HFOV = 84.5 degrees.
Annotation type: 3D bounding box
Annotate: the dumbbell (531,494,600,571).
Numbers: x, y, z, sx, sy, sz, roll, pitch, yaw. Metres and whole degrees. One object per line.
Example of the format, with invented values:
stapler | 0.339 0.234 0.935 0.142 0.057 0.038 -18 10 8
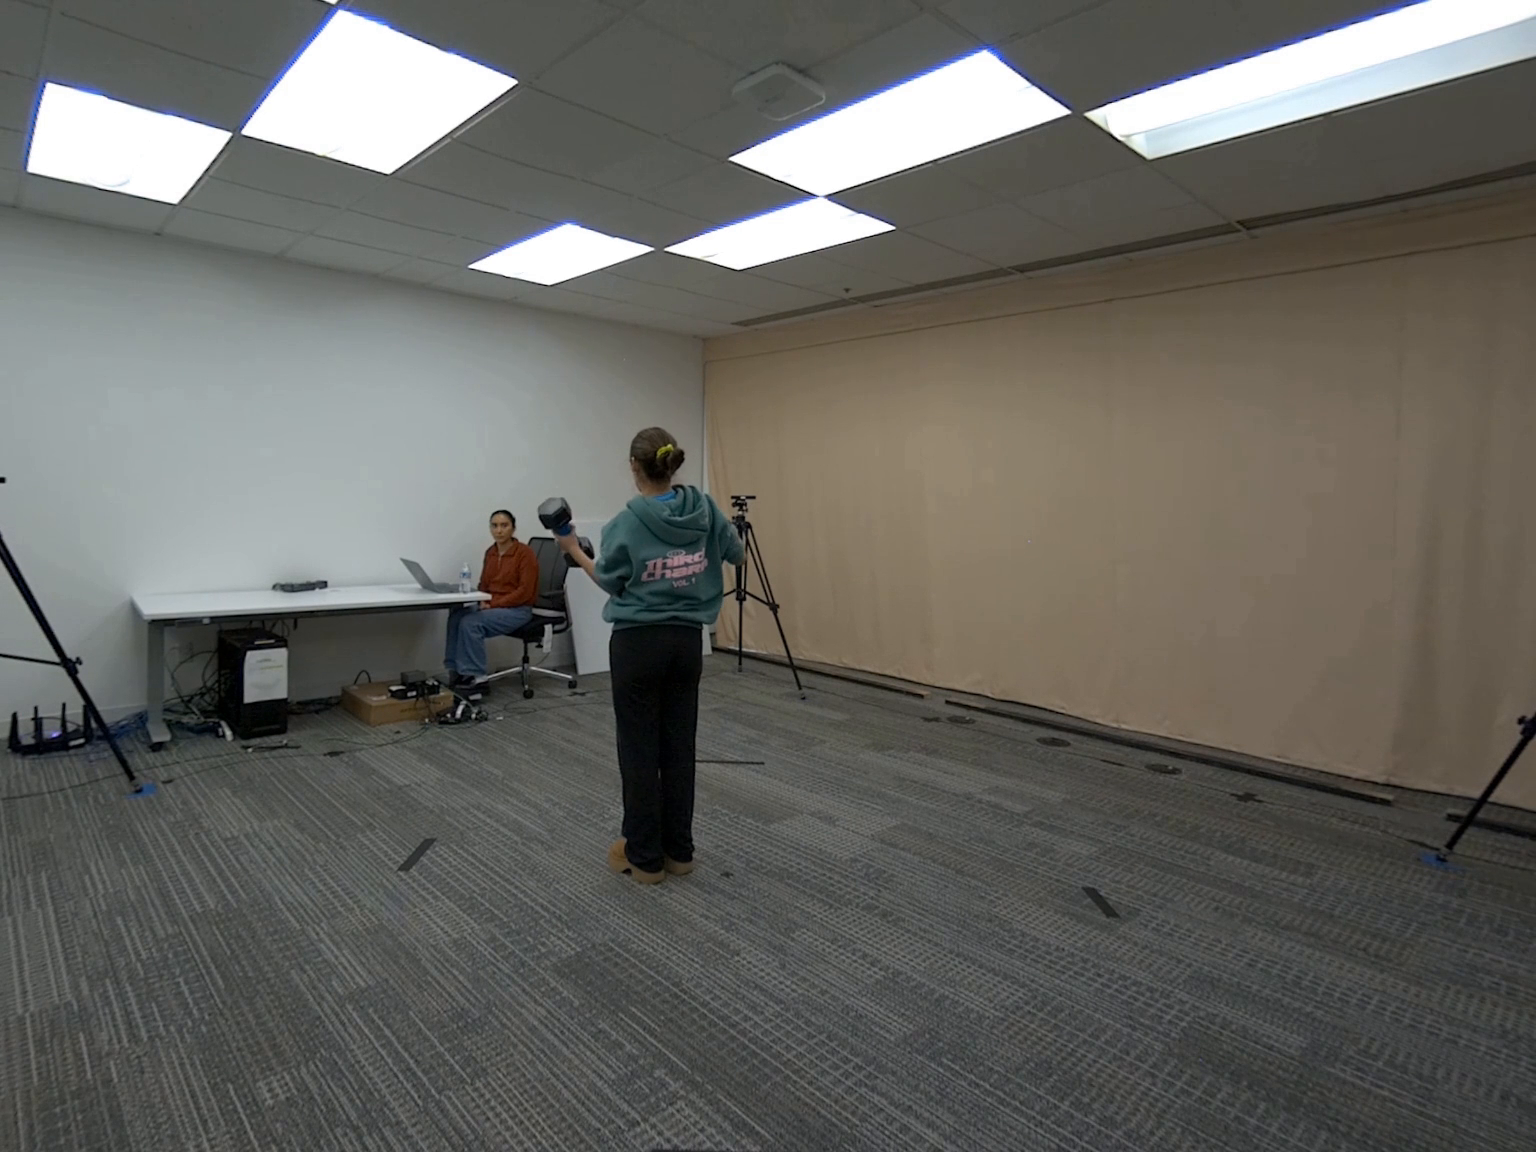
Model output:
dumbbell | -0.751 -0.160 3.162 0.124 0.110 0.285 -3 -42 17
